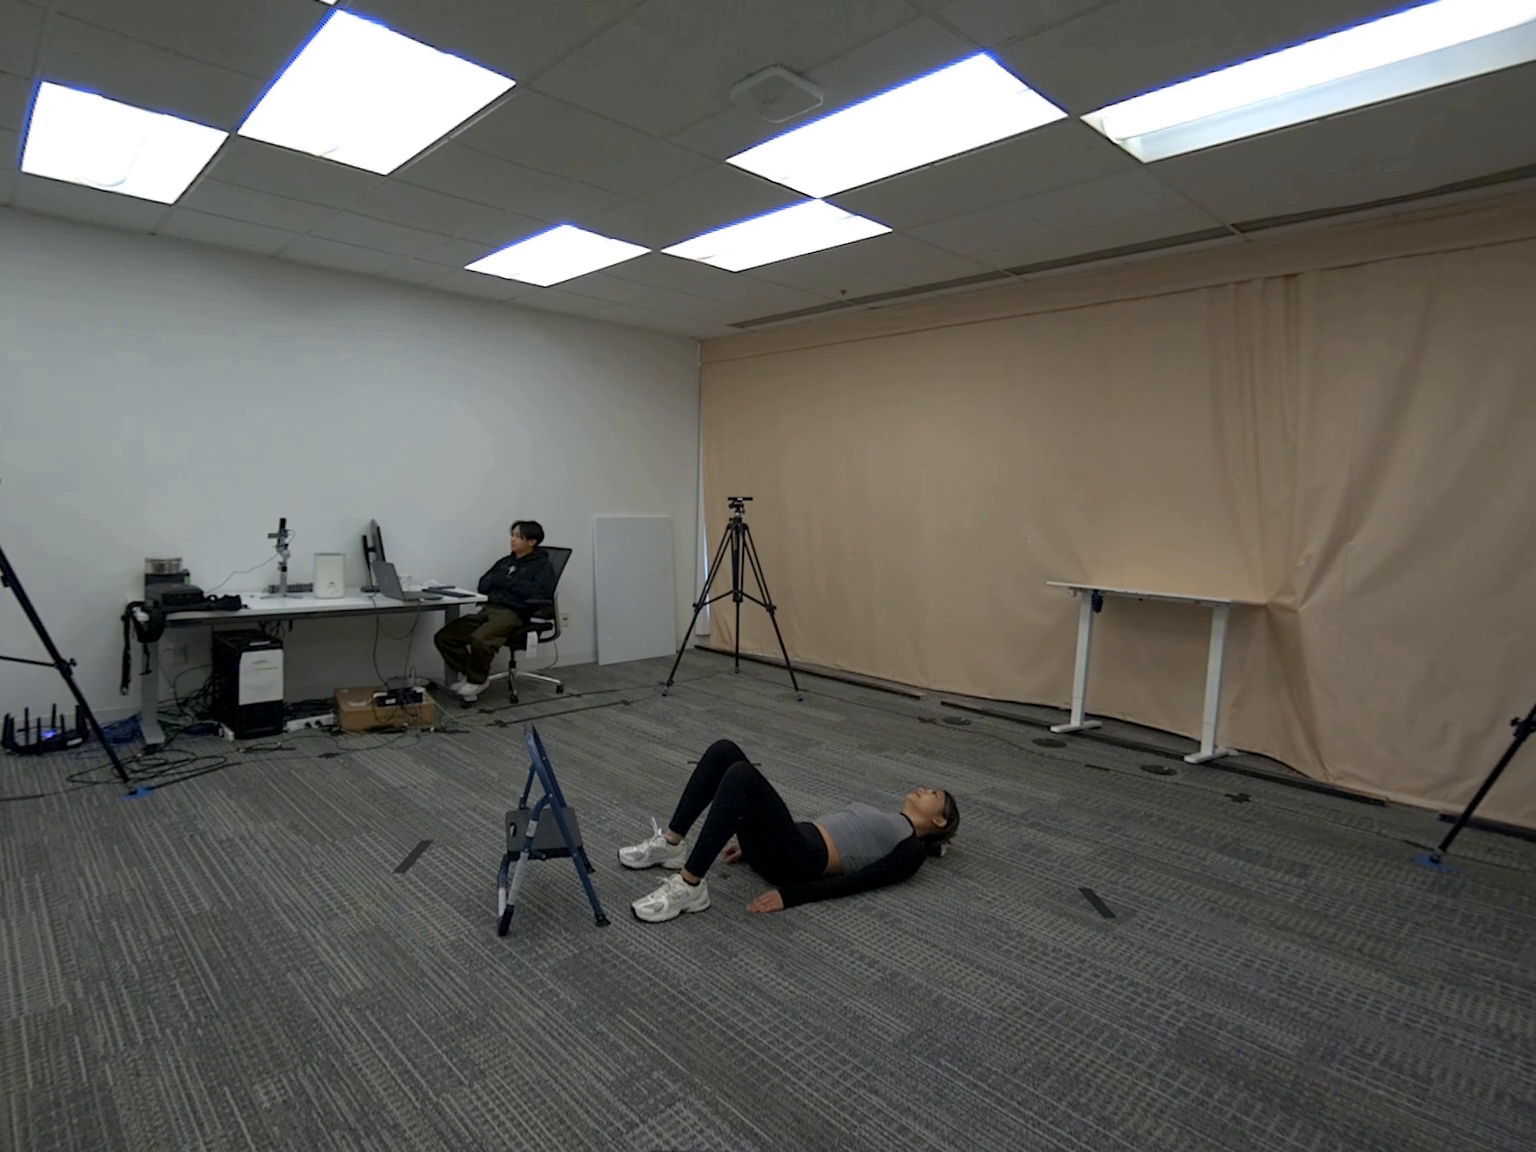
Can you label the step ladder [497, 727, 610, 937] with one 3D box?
[{"bbox_3d":[-0.744,0.815,2.862,0.344,0.604,0.438,0,4,-19],"label":"step ladder"}]
